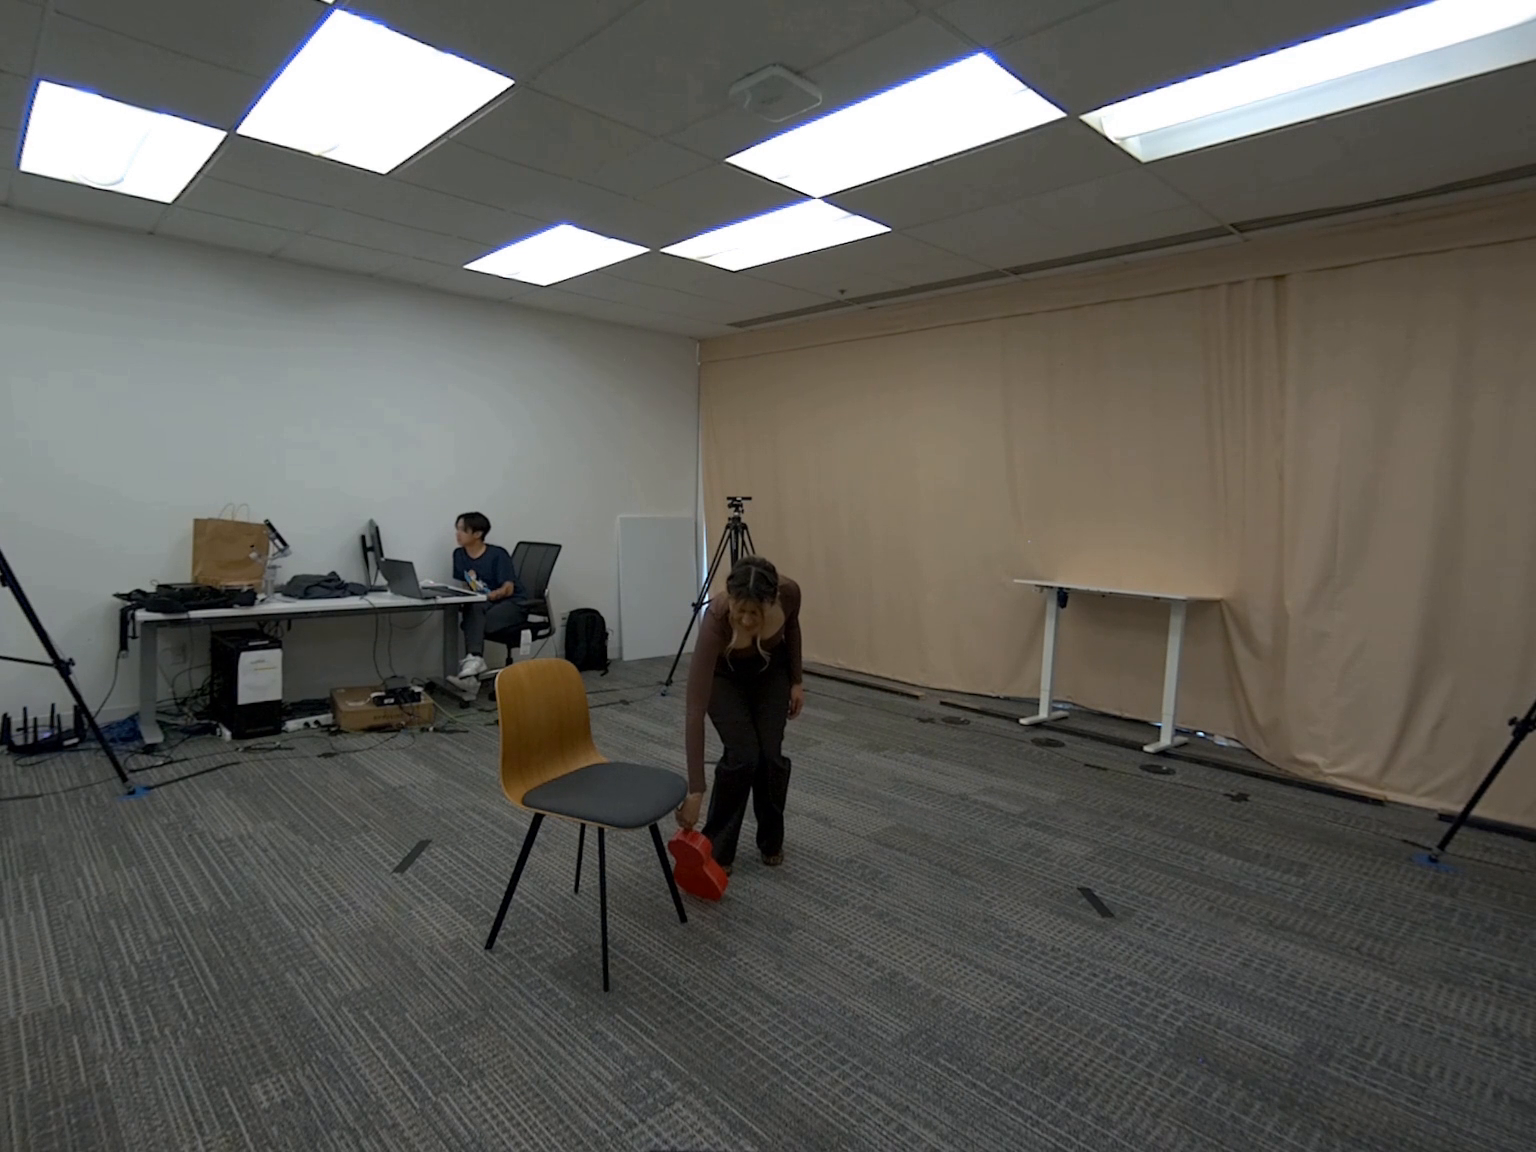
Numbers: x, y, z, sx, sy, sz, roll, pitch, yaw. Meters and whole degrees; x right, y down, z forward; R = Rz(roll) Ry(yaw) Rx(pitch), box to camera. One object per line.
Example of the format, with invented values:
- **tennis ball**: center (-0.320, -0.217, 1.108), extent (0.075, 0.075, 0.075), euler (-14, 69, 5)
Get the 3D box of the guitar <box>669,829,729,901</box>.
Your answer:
- **guitar**: center (-0.298, 0.898, 2.867), extent (0.197, 0.488, 0.070), euler (-7, 24, 34)
